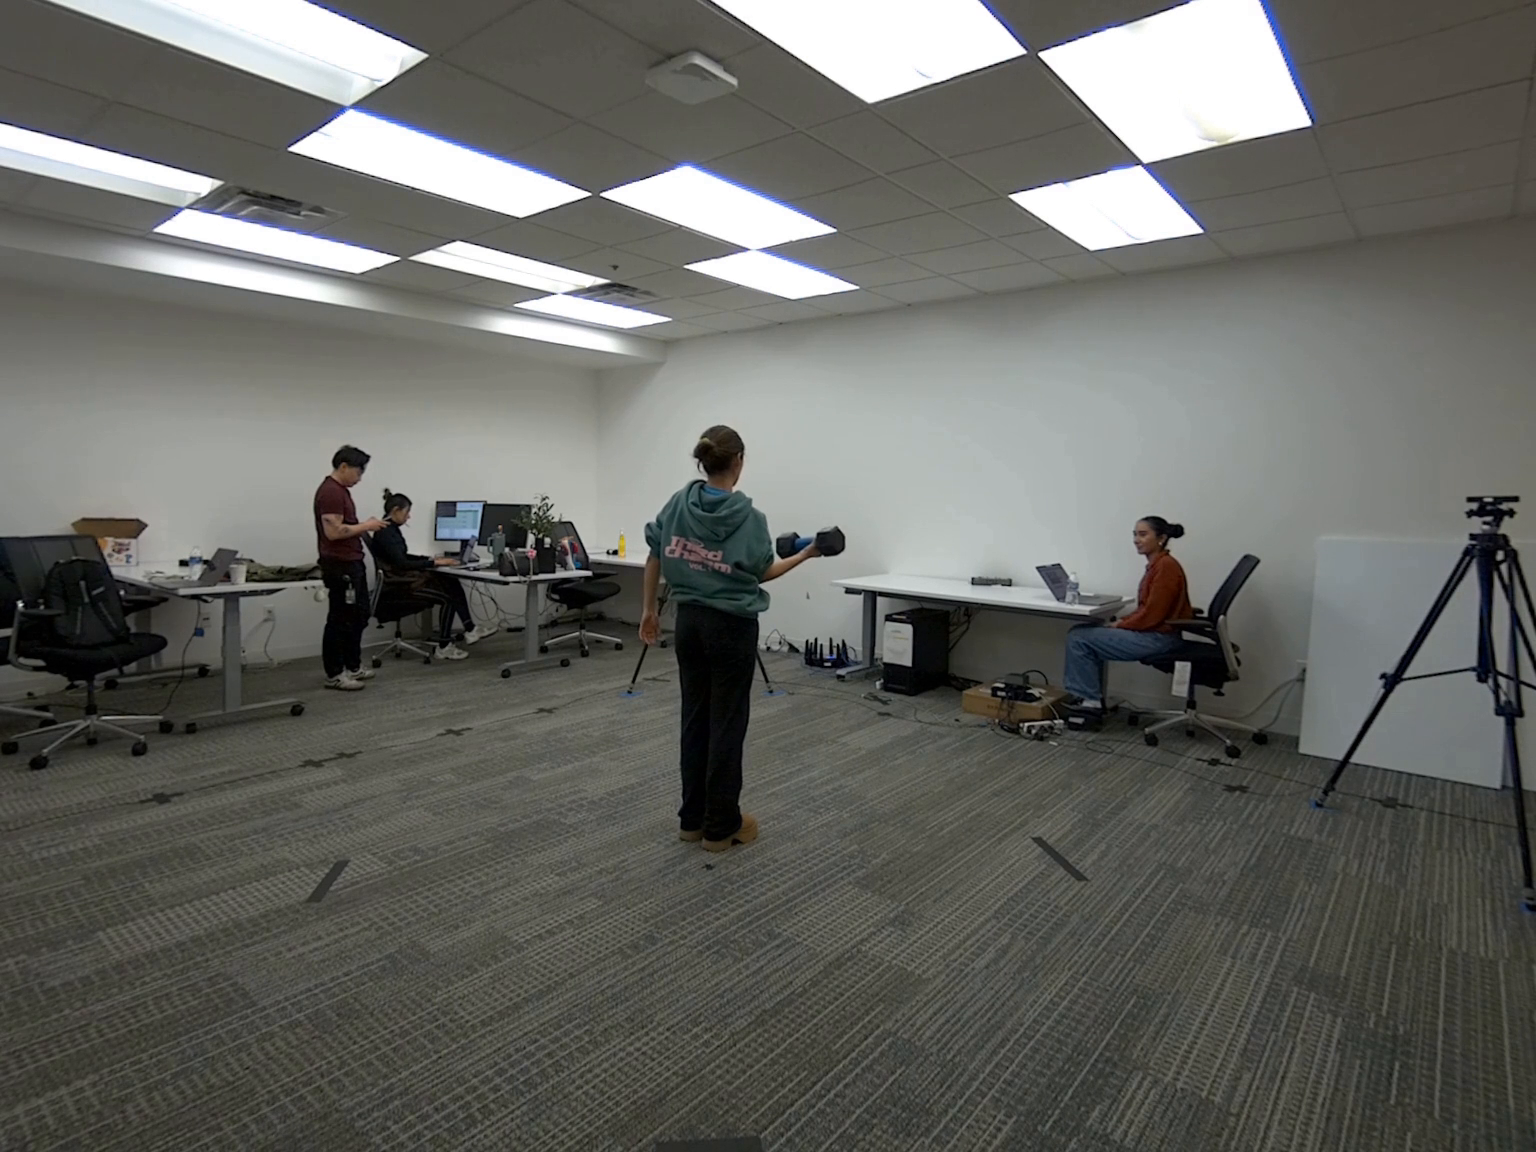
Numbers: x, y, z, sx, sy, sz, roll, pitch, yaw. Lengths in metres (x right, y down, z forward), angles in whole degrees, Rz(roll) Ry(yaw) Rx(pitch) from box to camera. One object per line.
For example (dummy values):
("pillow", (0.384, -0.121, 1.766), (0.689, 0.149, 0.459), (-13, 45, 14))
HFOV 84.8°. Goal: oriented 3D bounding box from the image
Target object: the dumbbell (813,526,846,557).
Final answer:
("dumbbell", (0.157, -0.131, 3.475), (0.302, 0.107, 0.122), (-6, 20, 42))
